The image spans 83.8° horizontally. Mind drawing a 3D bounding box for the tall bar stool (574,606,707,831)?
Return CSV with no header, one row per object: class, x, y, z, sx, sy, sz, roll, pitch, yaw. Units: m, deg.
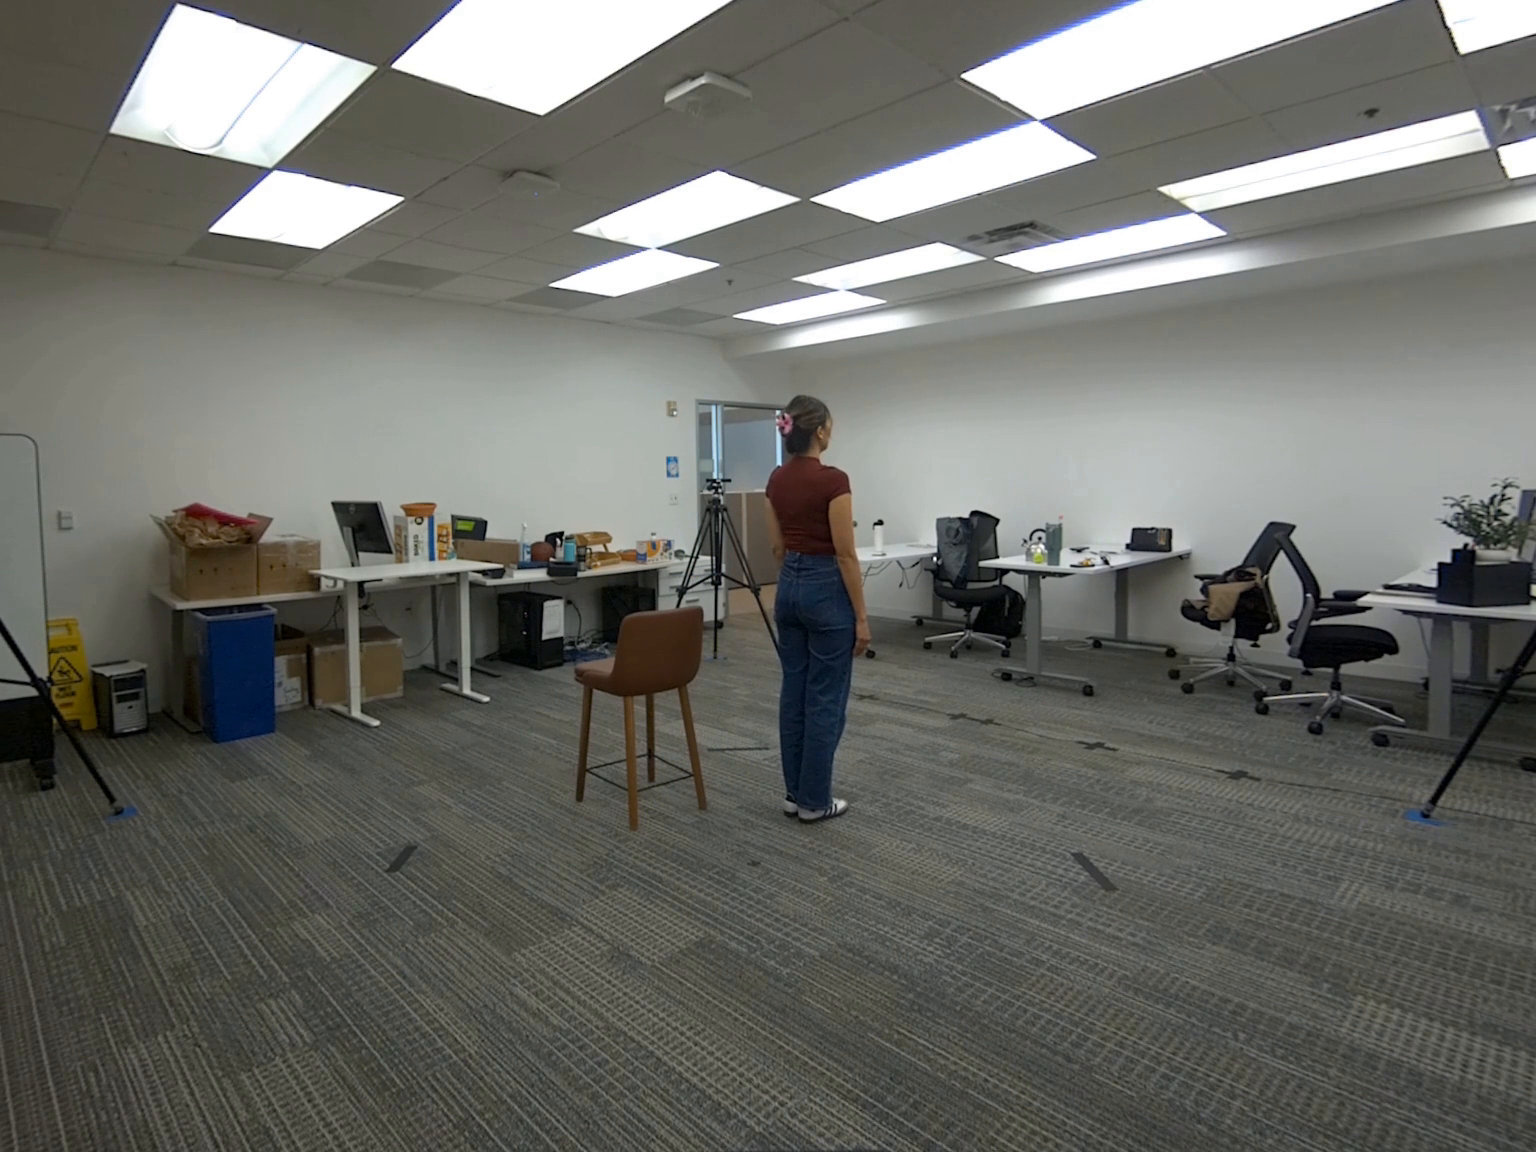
tall bar stool,-0.551,0.556,3.673,0.444,0.886,0.482,-5,6,-40
